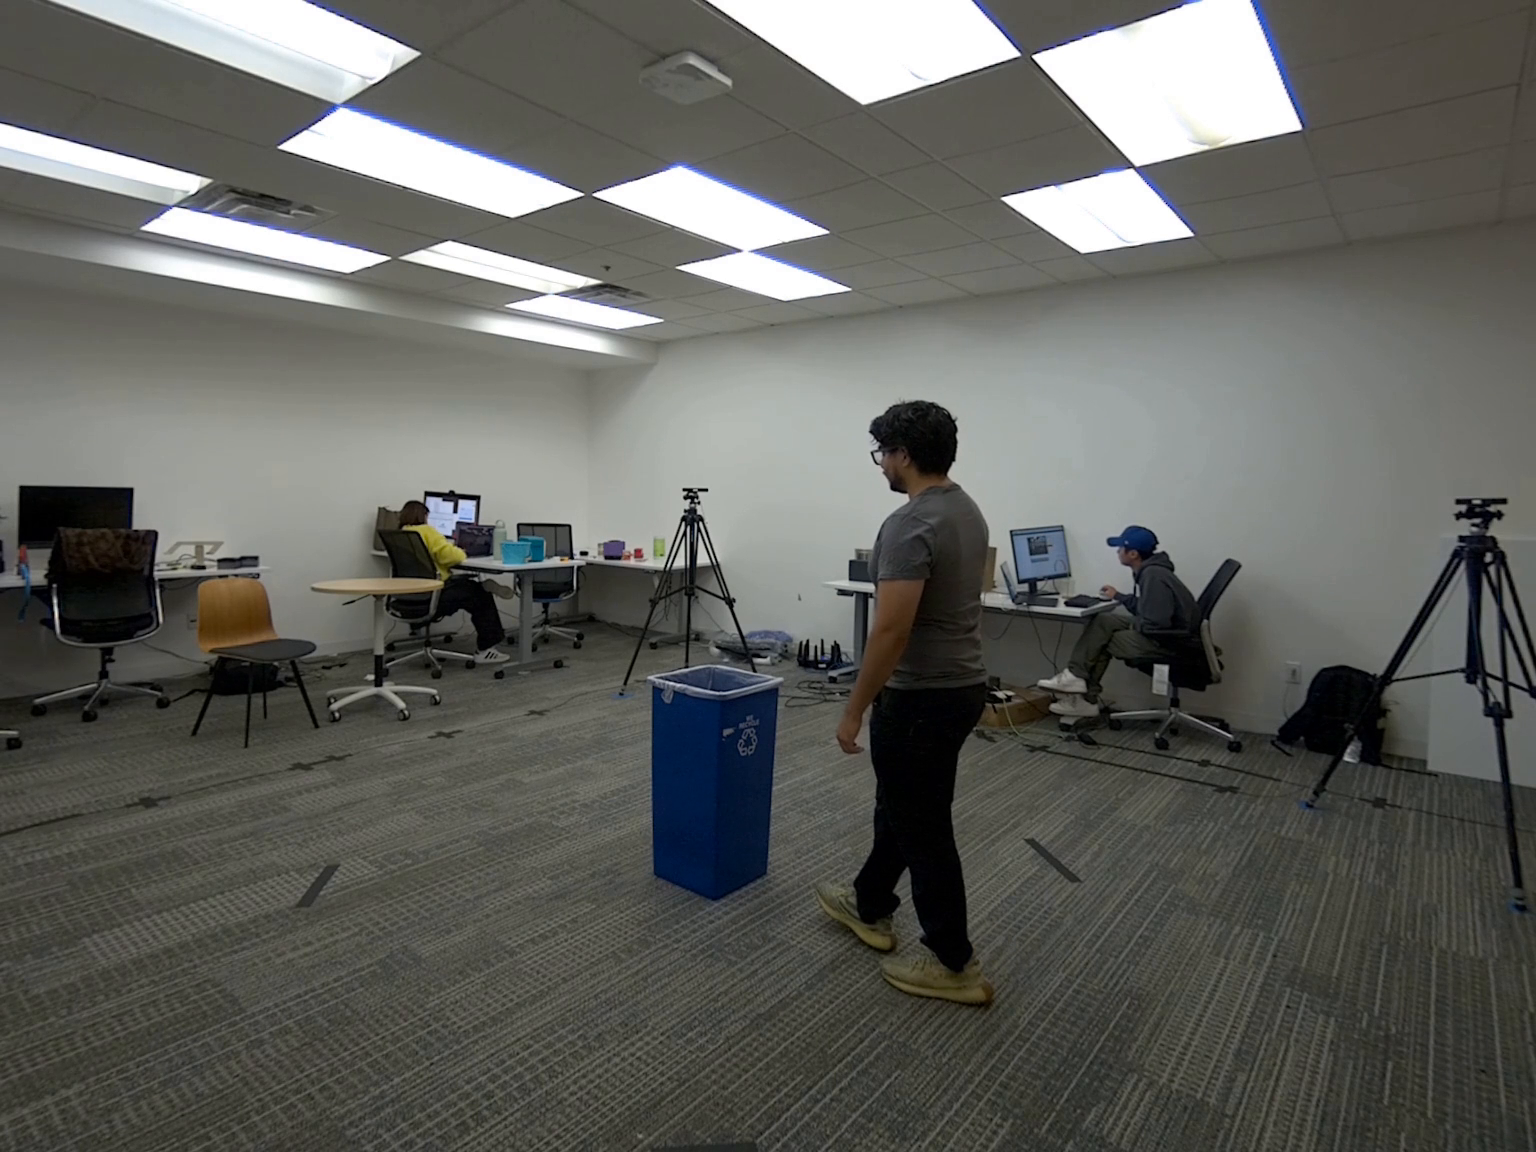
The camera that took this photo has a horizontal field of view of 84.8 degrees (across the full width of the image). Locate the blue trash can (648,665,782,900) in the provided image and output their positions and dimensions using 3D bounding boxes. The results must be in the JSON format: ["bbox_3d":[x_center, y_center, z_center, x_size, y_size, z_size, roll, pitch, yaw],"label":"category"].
[{"bbox_3d":[-0.215,0.717,3.061,0.386,0.711,0.367,5,4,38],"label":"blue trash can"}]
